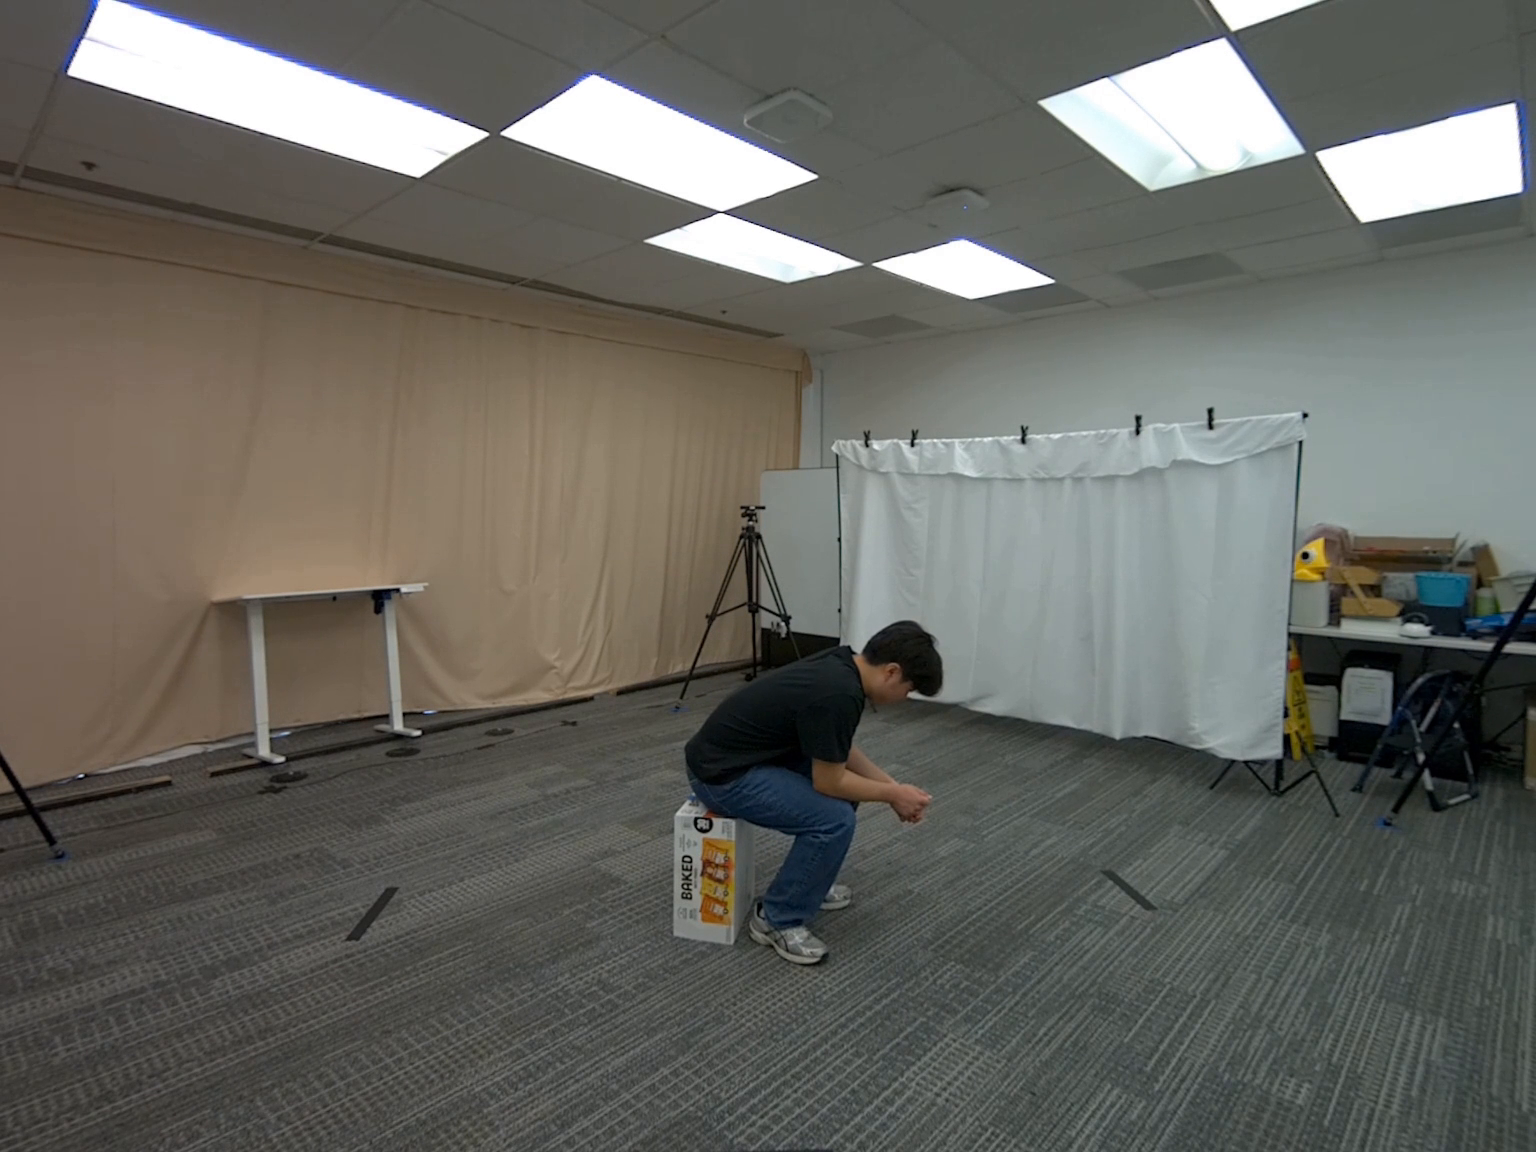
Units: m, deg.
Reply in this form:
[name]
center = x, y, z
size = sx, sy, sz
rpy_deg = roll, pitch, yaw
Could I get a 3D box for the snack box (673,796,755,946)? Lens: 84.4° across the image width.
[snack box]
center = -0.169, 0.956, 2.852
size = 0.208, 0.404, 0.336
rpy_deg = 1, 3, 11
